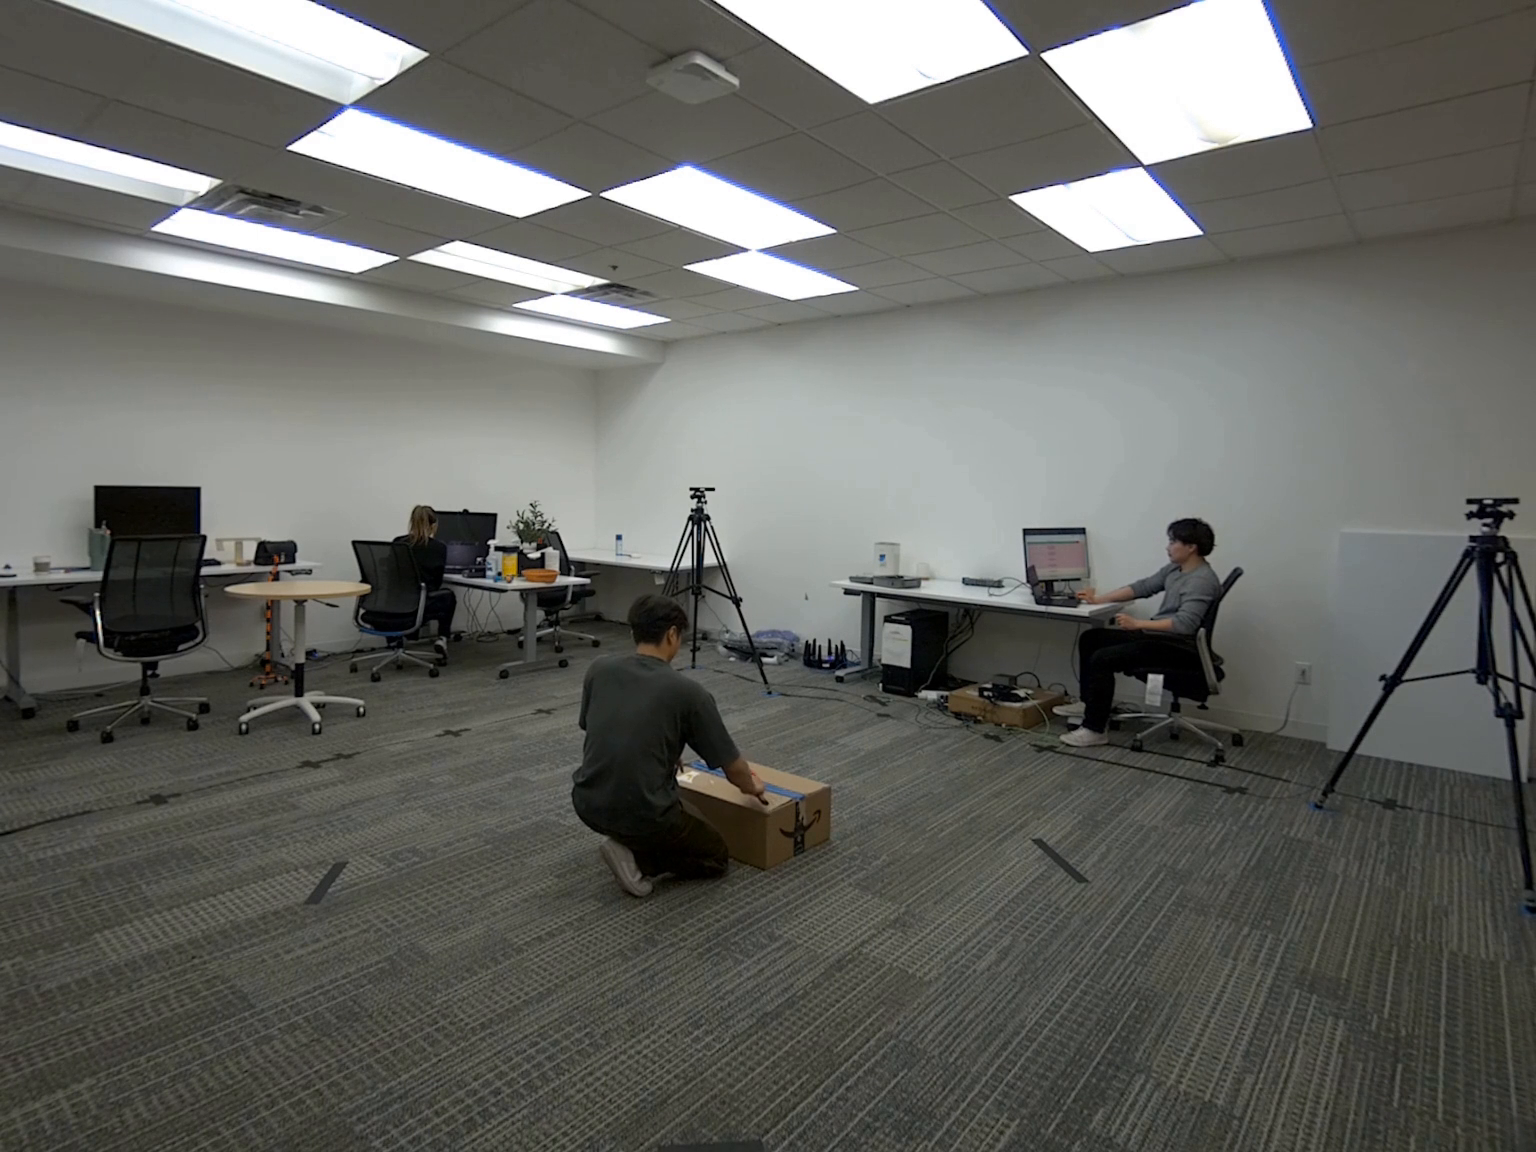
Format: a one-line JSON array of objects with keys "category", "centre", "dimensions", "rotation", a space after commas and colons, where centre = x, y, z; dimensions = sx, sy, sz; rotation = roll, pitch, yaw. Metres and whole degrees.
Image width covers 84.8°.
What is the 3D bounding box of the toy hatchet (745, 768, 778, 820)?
[{"category": "toy hatchet", "centre": [-0.059, 0.805, 3.220], "dimensions": [0.127, 0.029, 0.278], "rotation": [43, 2, -24]}]
